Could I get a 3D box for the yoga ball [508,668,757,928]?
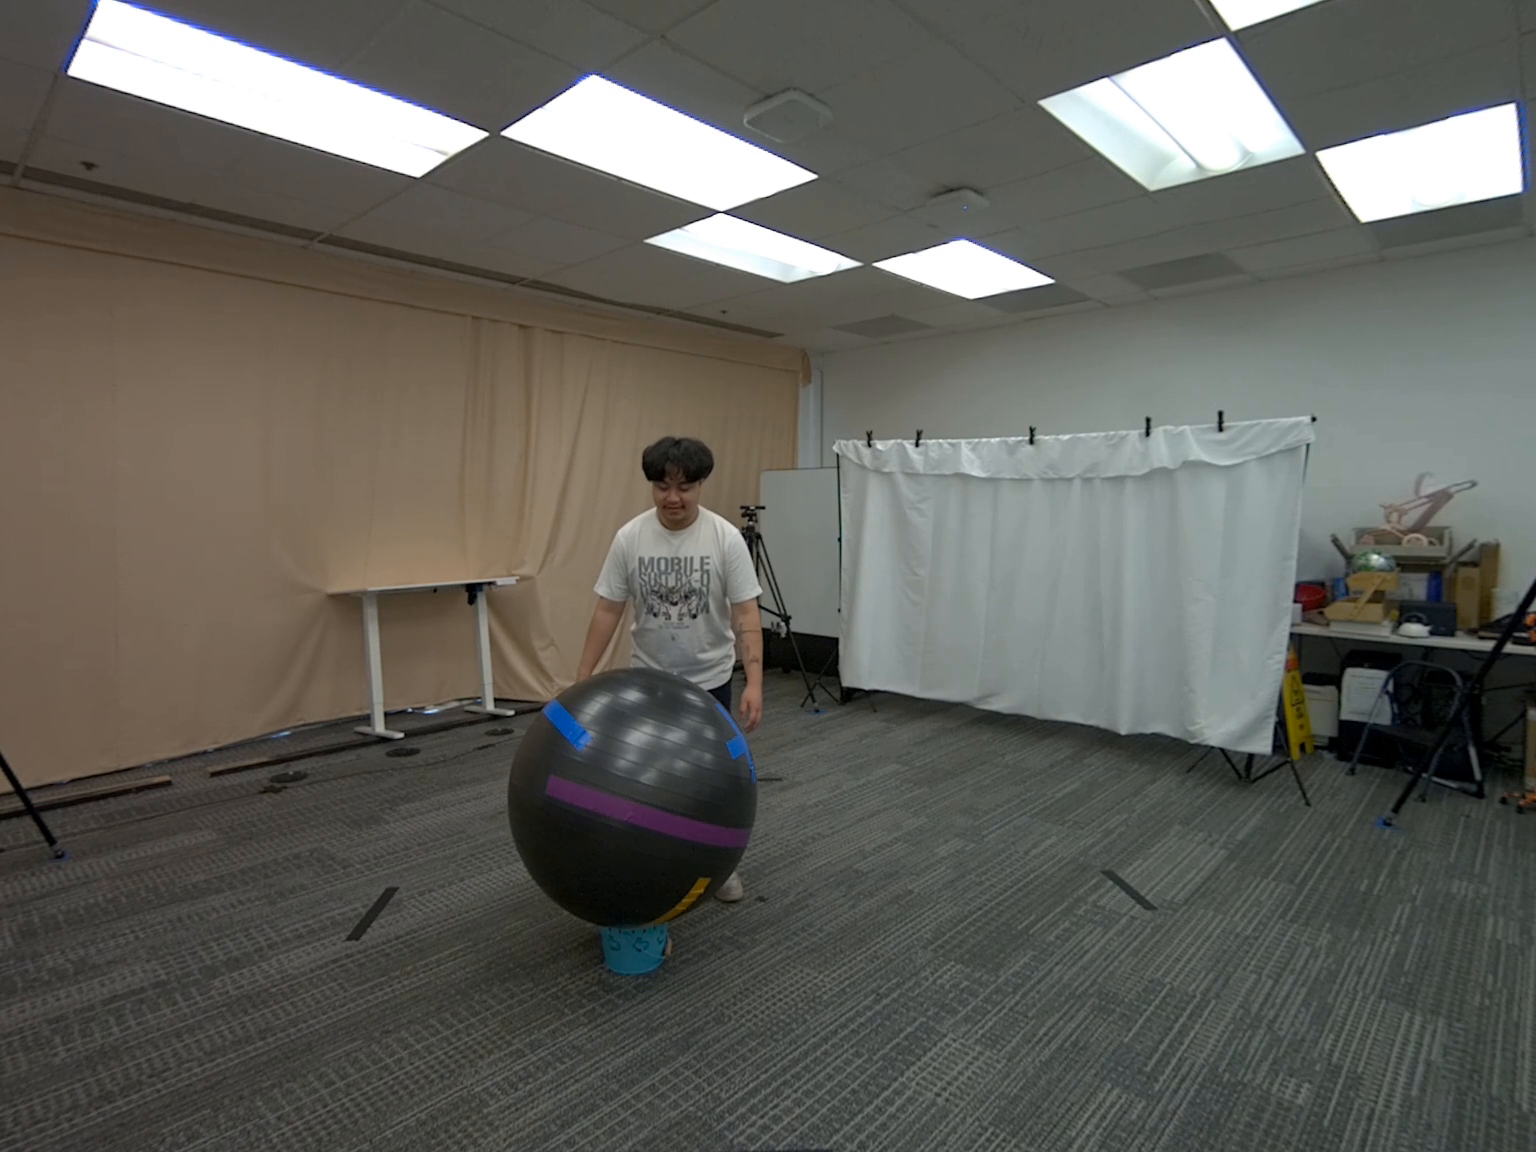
[{"bbox_3d":[-0.417,0.665,2.584,0.757,0.756,0.760,0,4,-2],"label":"yoga ball"}]
